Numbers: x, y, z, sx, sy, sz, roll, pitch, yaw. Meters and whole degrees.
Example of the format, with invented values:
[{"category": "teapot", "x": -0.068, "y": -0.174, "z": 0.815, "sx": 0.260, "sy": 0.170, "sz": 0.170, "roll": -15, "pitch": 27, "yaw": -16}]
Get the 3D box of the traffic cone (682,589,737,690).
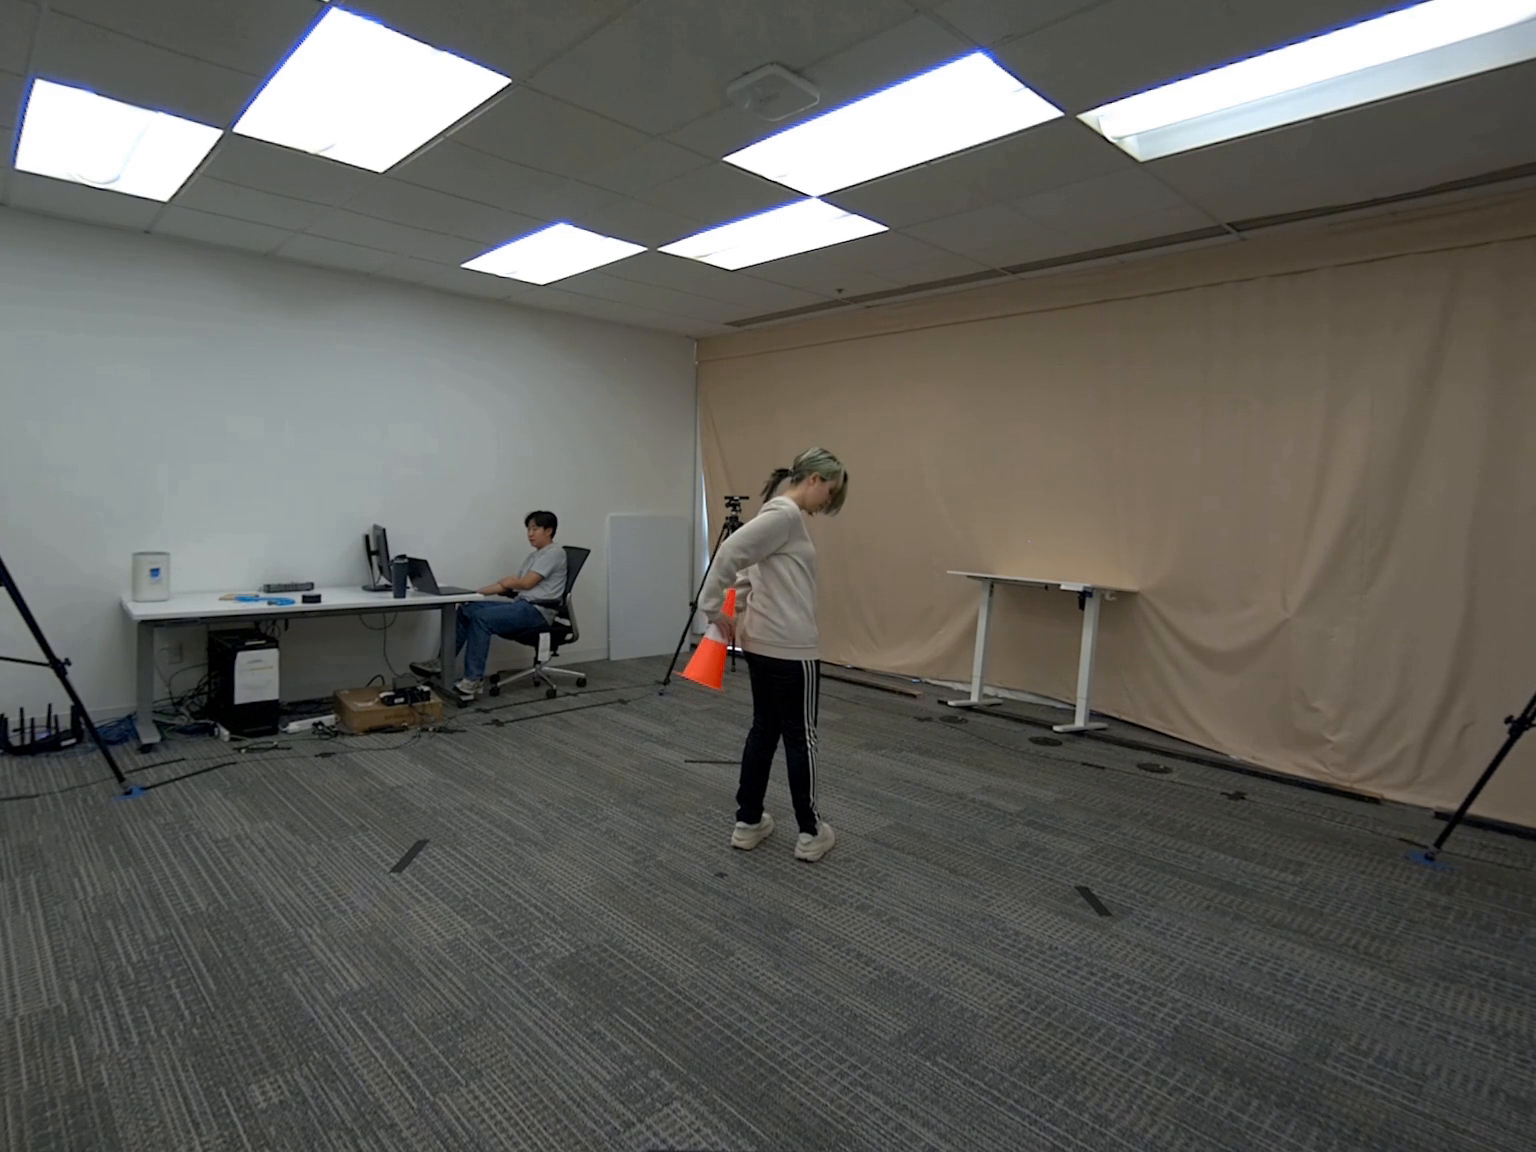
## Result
[{"category": "traffic cone", "x": -0.205, "y": 0.237, "z": 3.272, "sx": 0.205, "sy": 0.384, "sz": 0.203, "roll": 17, "pitch": -1, "yaw": 9}]
